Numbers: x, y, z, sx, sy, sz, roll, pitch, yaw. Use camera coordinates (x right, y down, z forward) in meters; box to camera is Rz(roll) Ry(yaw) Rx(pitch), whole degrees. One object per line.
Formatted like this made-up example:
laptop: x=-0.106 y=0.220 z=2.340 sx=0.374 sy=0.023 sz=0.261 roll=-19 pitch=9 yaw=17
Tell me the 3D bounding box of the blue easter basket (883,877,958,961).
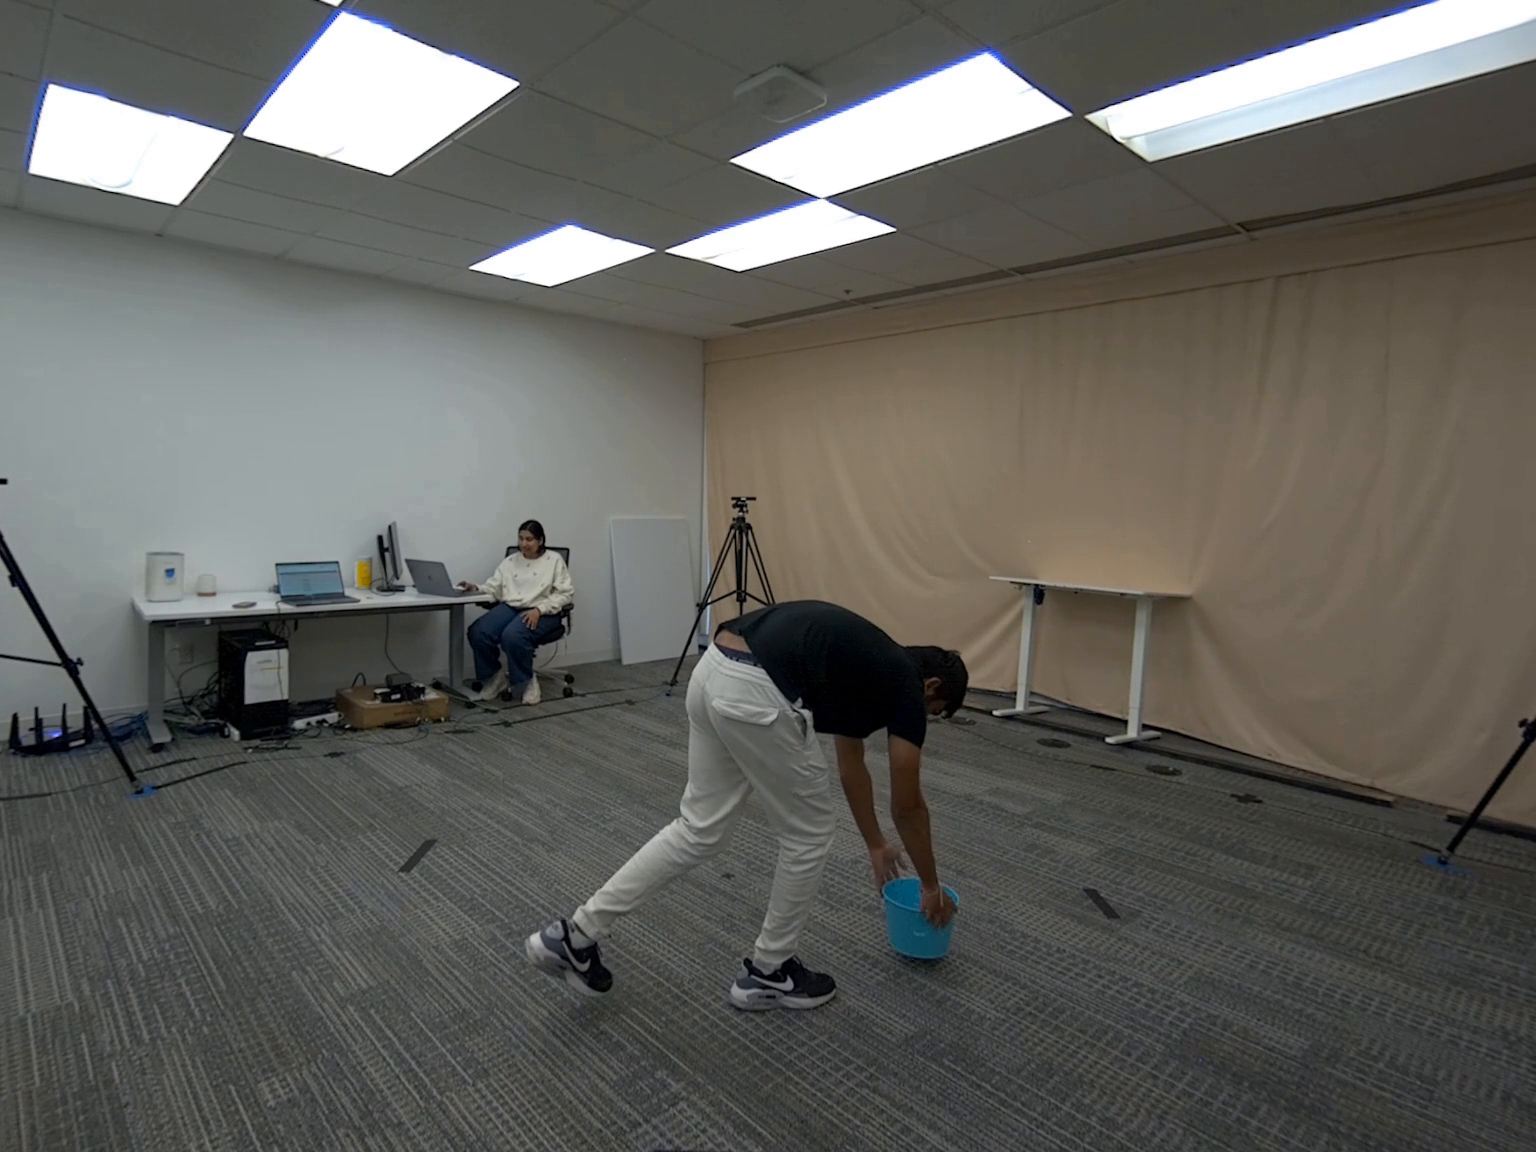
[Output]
blue easter basket: x=0.467 y=1.045 z=2.565 sx=0.243 sy=0.155 sz=0.244 roll=2 pitch=3 yaw=-1
